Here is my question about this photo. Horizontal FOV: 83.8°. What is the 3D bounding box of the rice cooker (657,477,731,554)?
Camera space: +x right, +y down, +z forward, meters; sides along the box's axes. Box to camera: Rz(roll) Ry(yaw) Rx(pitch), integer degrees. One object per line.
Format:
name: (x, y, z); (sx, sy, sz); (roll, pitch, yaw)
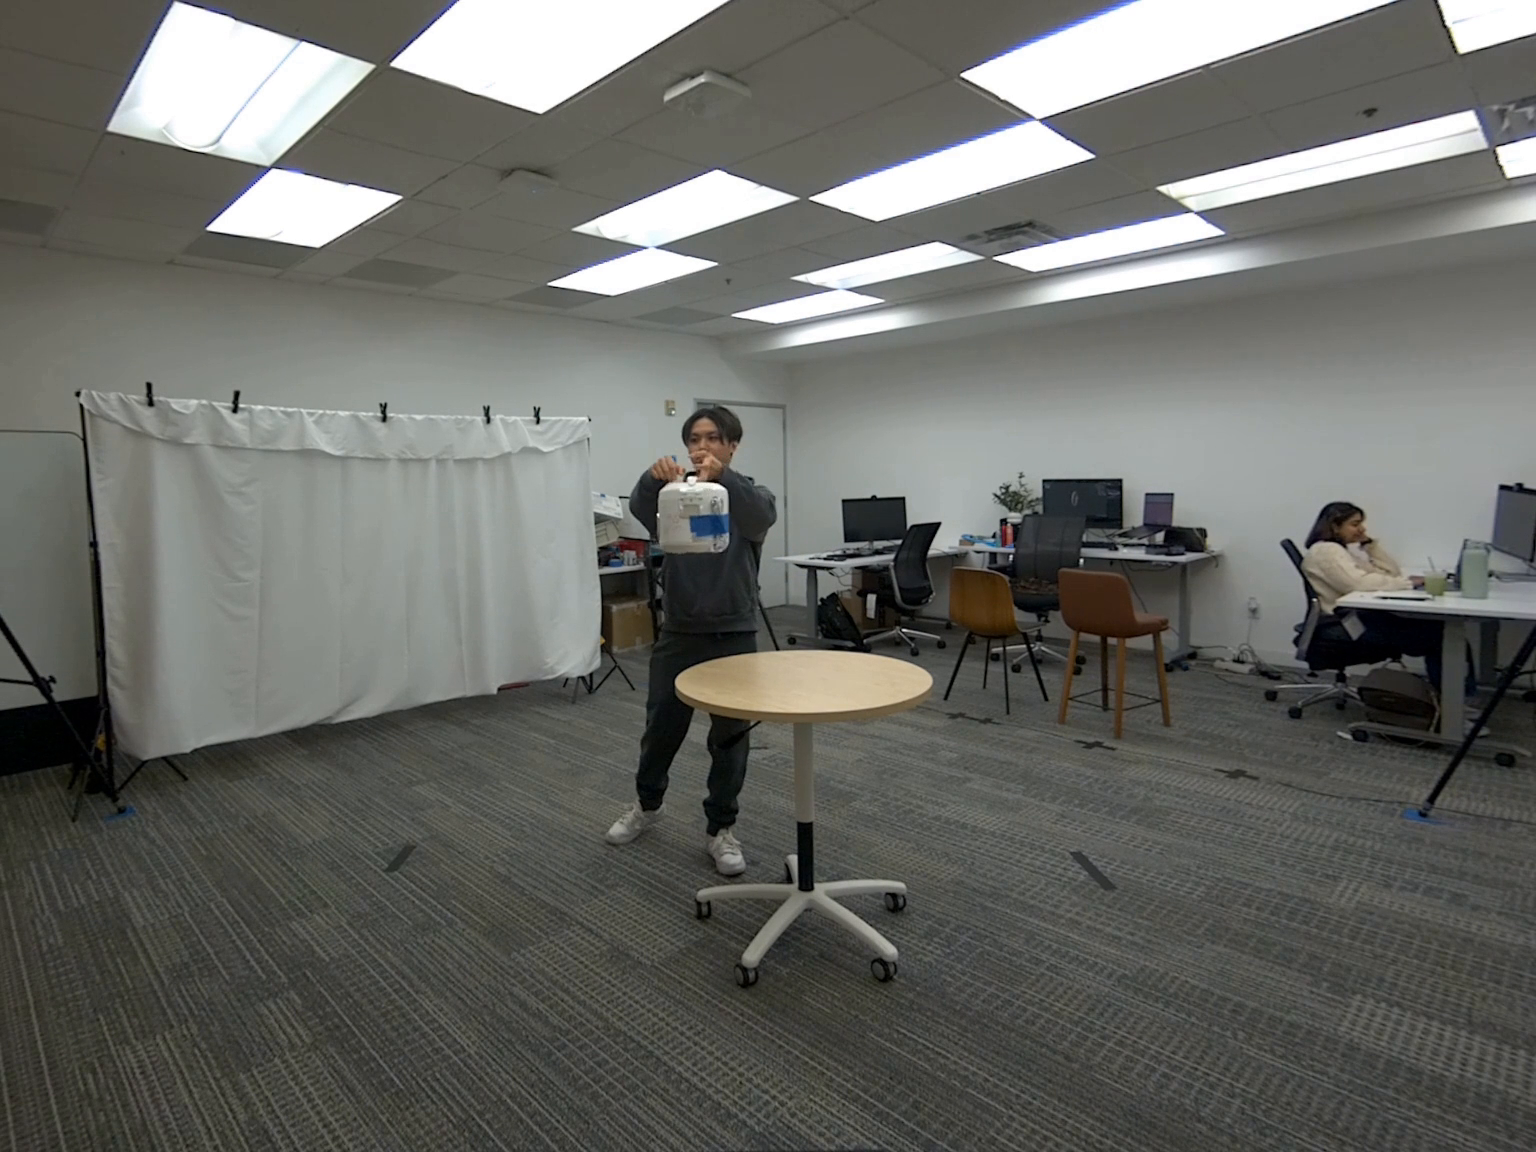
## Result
rice cooker: (-0.228, -0.185, 2.594); (0.218, 0.233, 0.220); (-1, 0, 0)
